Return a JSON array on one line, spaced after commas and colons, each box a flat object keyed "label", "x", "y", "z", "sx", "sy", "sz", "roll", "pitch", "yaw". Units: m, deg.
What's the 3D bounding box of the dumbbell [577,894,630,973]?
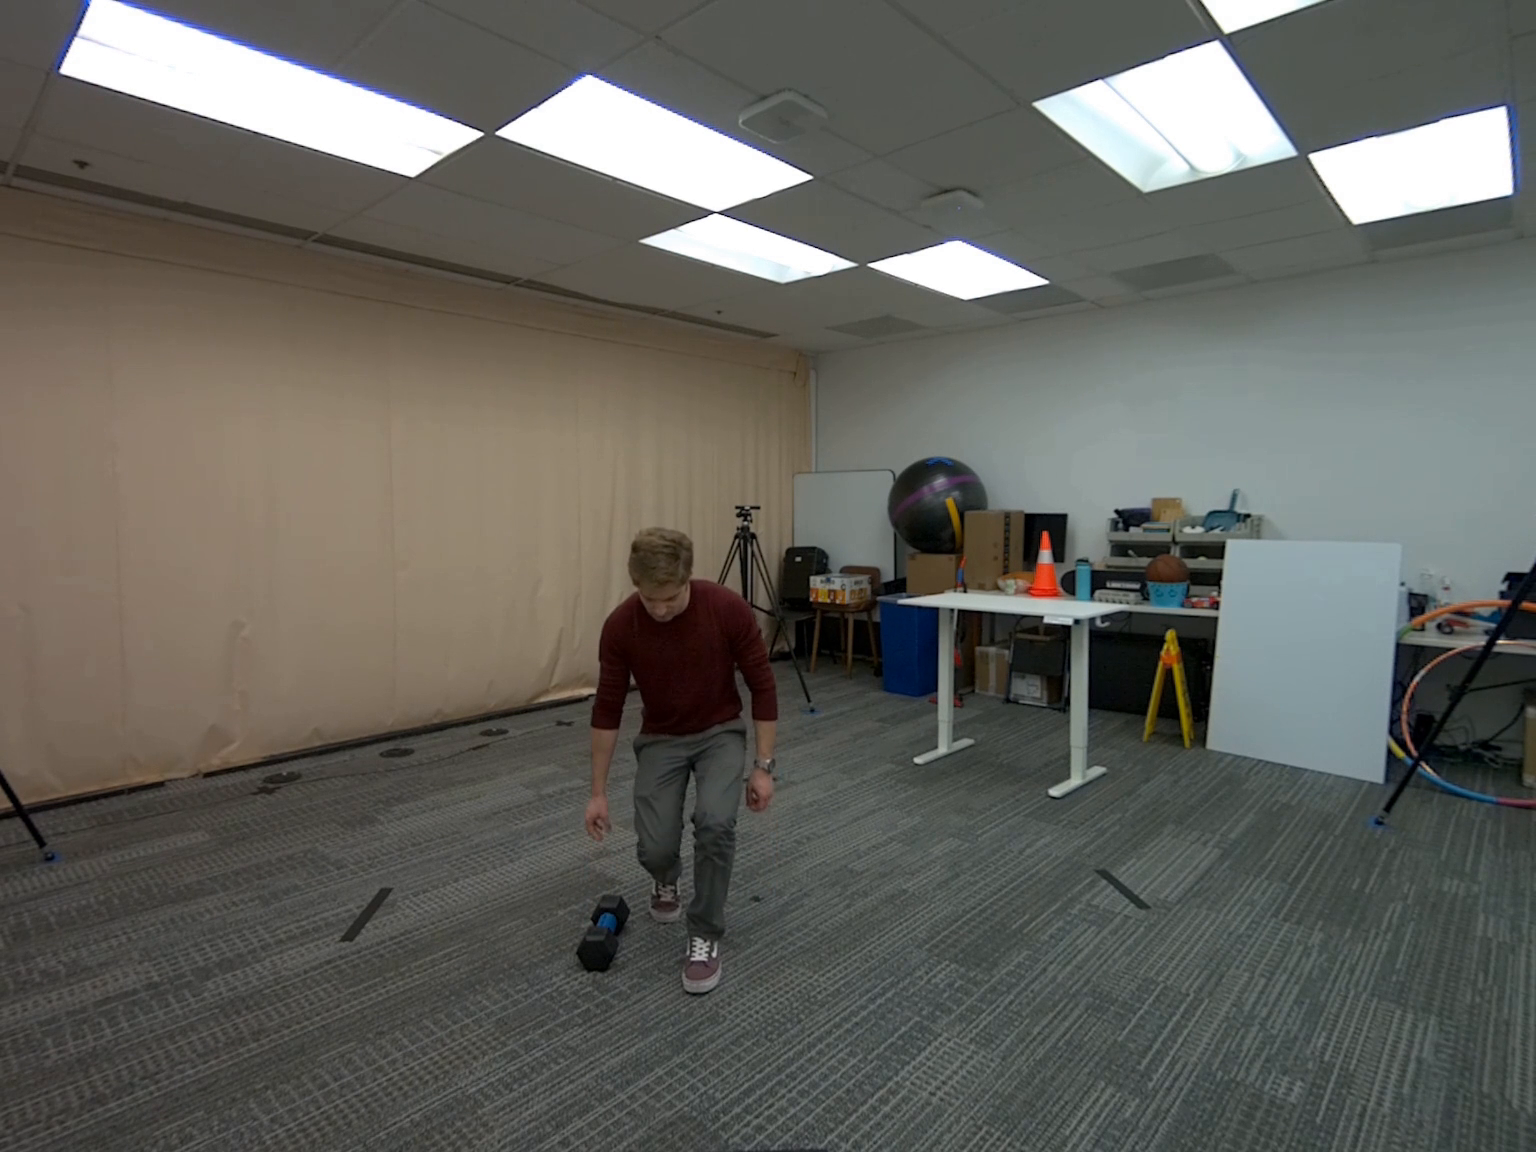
[{"label": "dumbbell", "x": -0.515, "y": 1.124, "z": 2.652, "sx": 0.109, "sy": 0.123, "sz": 0.294, "roll": 31, "pitch": 3, "yaw": -2}]
